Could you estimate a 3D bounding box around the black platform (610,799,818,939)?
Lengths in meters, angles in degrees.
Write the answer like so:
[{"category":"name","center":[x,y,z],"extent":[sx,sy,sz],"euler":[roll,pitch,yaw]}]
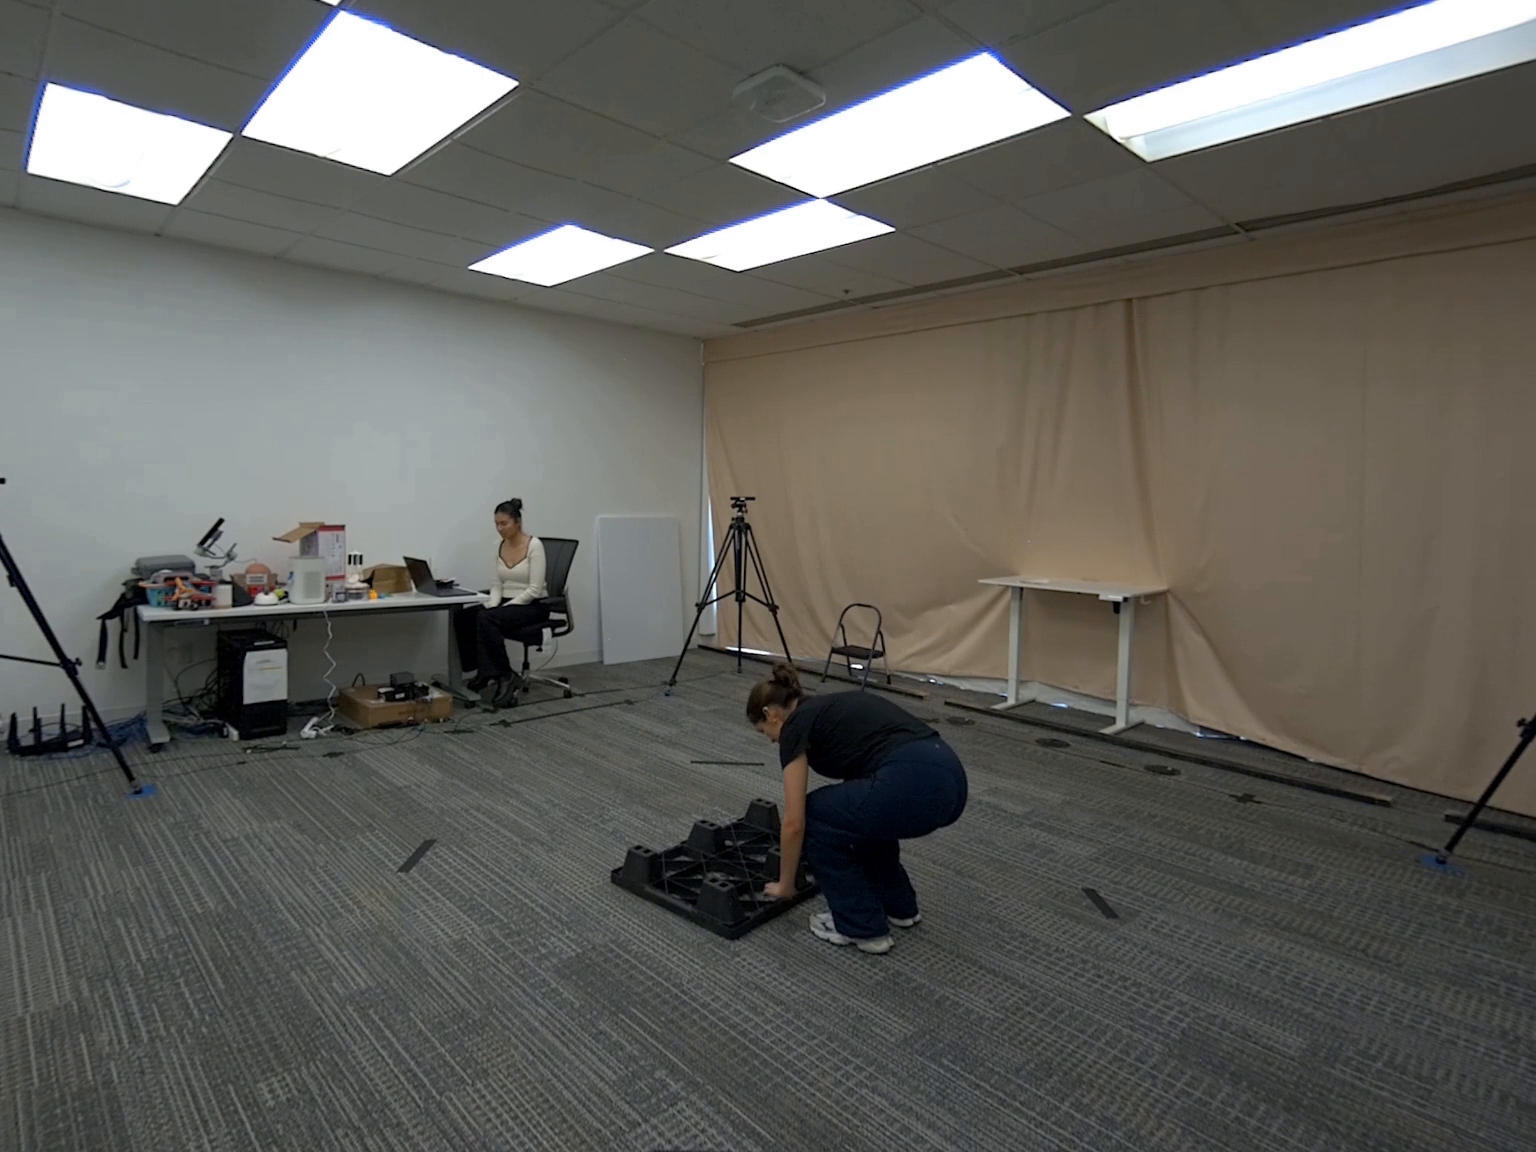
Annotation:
[{"category":"black platform","center":[-0.095,1.041,3.112],"extent":[0.620,0.143,0.788],"euler":[5,7,40]}]
